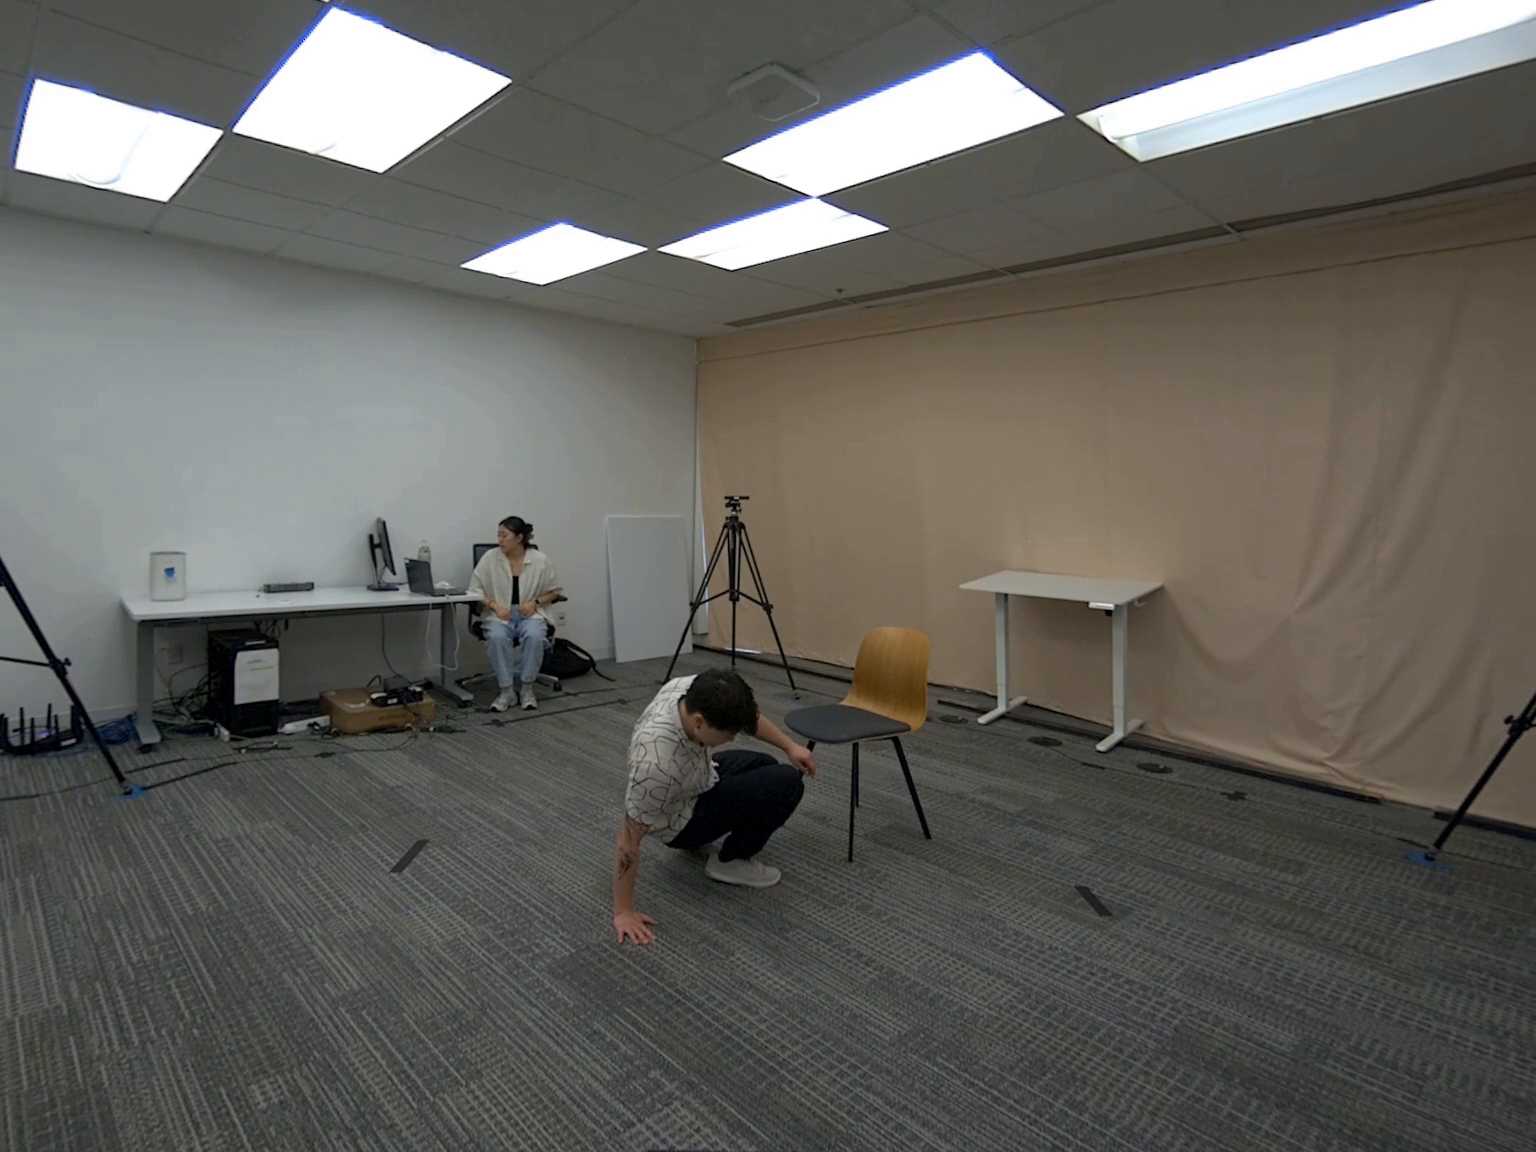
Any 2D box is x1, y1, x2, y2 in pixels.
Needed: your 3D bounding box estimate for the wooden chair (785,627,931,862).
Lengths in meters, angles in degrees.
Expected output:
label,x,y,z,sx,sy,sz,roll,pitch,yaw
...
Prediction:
label,x,y,z,sx,sy,sz,roll,pitch,yaw
wooden chair,0.363,0.652,3.512,0.510,0.877,0.490,5,1,-36
